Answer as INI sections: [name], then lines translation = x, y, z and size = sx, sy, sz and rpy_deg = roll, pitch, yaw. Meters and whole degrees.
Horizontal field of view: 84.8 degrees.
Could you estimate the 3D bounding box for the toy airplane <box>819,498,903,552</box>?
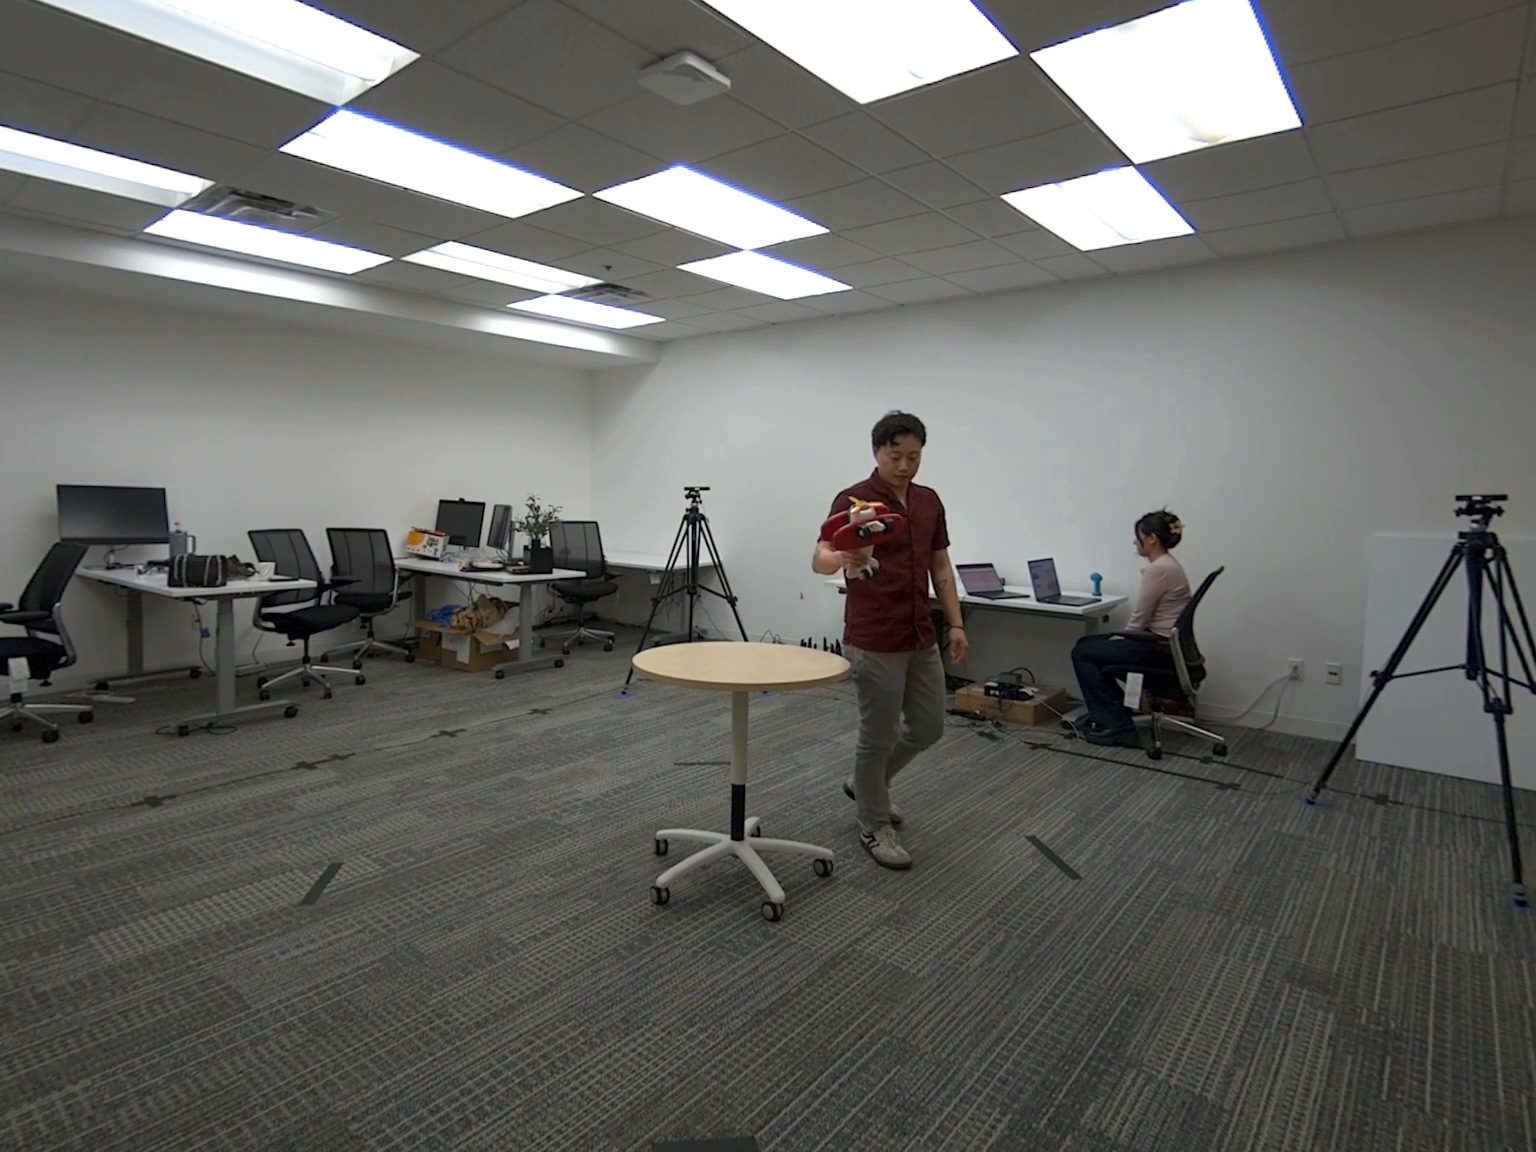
[toy airplane]
translation = 0.284, -0.113, 2.737
size = 0.242, 0.257, 0.163
rpy_deg = 10, 33, -38
